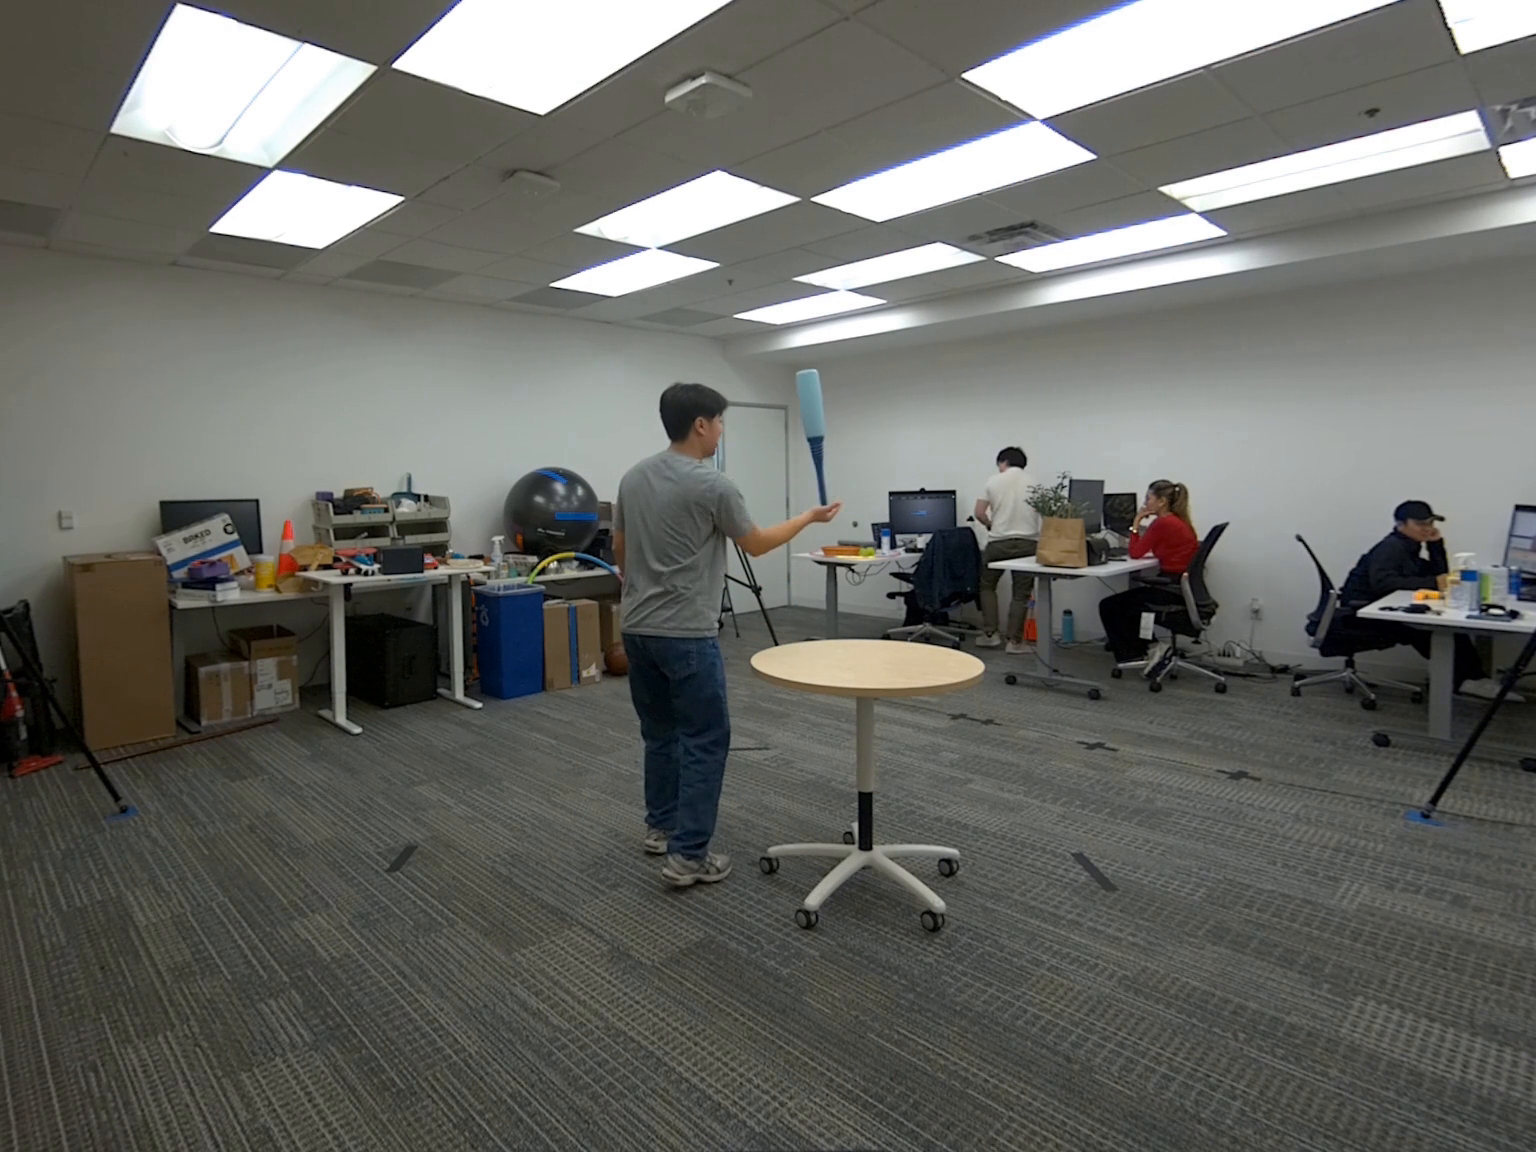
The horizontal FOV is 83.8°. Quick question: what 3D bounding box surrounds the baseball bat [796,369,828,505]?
[{"bbox_3d":[0.180,-0.506,3.224,0.089,0.541,0.089,-7,4,-1],"label":"baseball bat"}]
